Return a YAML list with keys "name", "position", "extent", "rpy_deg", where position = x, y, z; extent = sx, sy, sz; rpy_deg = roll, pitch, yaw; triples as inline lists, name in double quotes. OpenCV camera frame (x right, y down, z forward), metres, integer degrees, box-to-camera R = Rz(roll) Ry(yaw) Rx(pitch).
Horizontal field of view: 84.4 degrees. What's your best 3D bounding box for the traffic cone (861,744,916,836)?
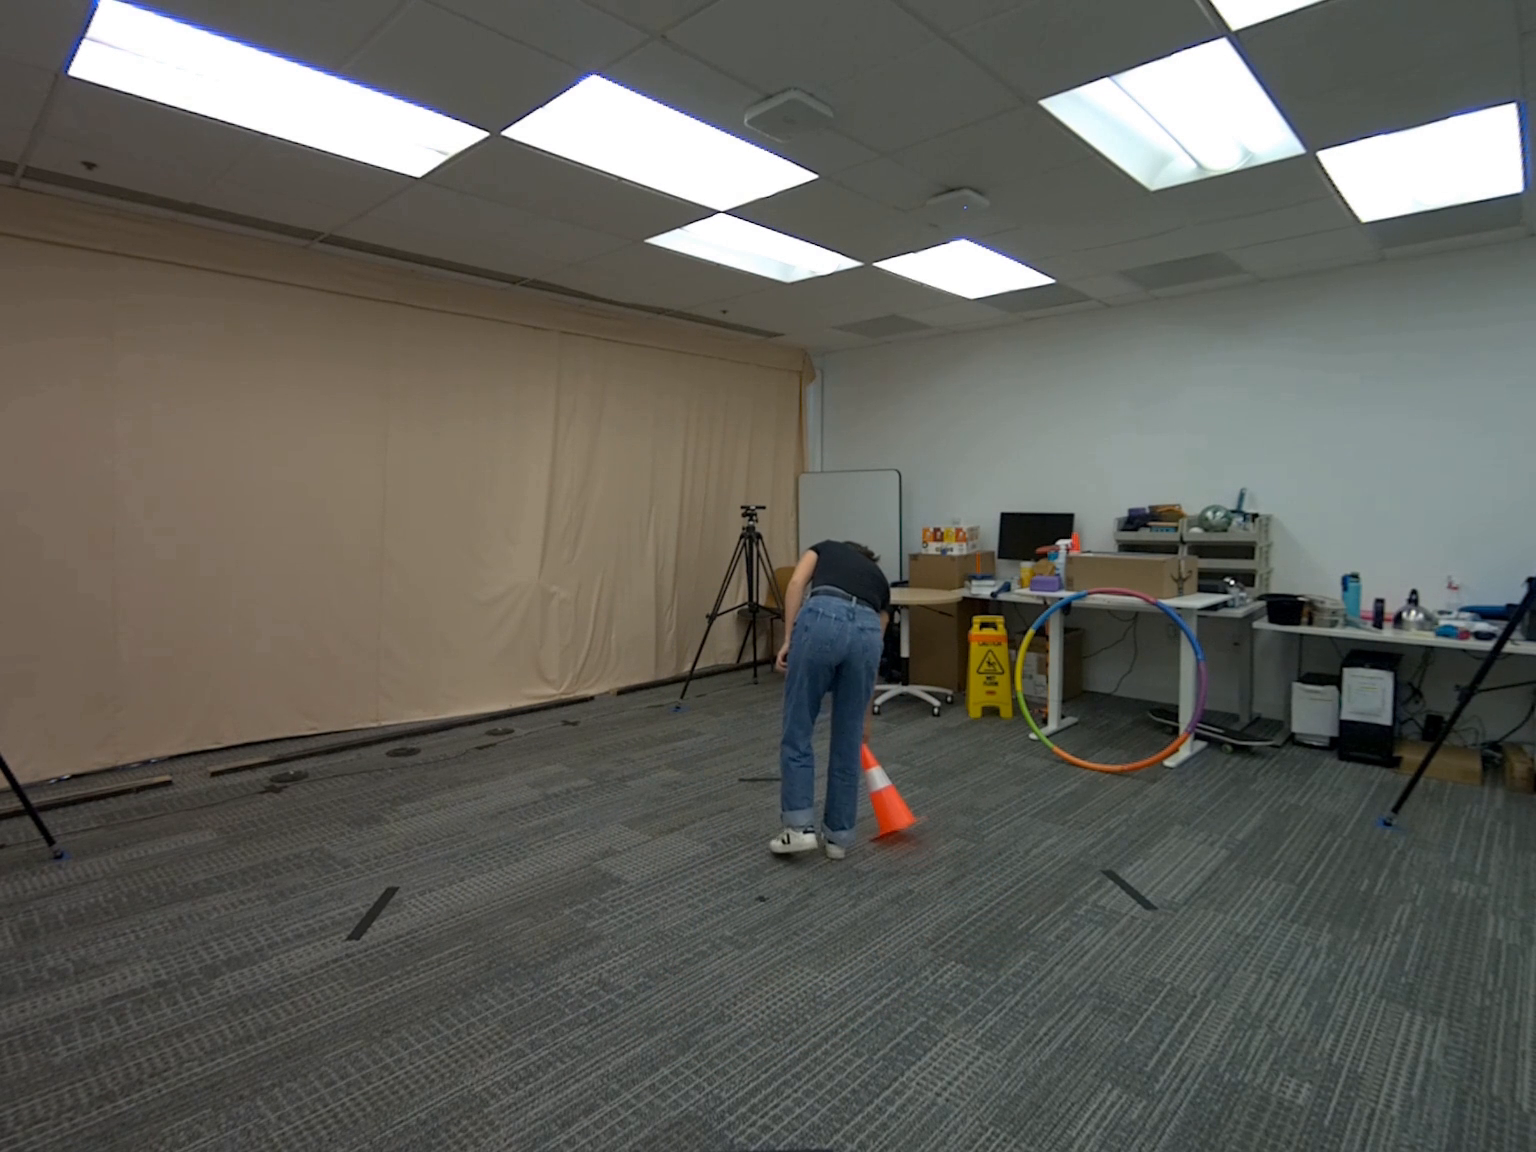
- name: "traffic cone"
  position: [0.477, 0.886, 3.568]
  extent: [0.208, 0.390, 0.197]
  rpy_deg: [-34, -20, 32]
